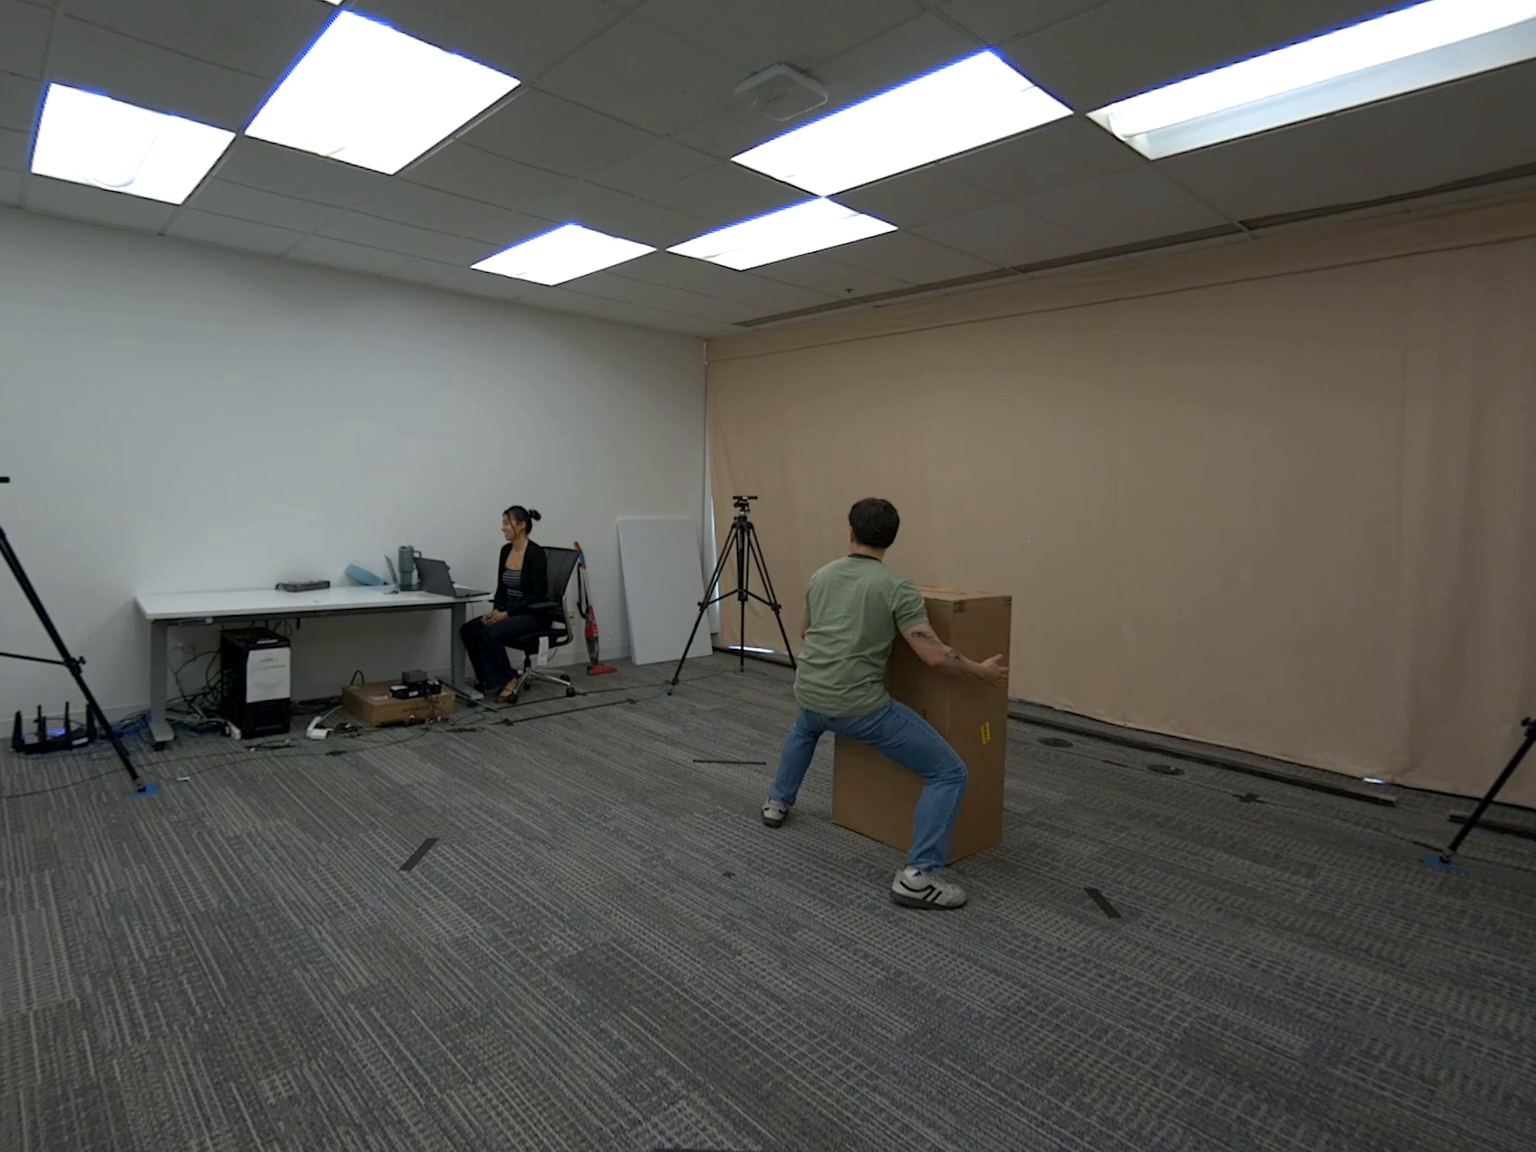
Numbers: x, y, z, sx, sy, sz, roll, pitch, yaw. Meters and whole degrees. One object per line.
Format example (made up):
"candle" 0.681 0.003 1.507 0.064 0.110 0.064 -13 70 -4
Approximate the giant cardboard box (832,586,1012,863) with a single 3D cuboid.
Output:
"giant cardboard box" 0.632 0.573 3.545 0.416 1.024 0.592 0 3 -42
